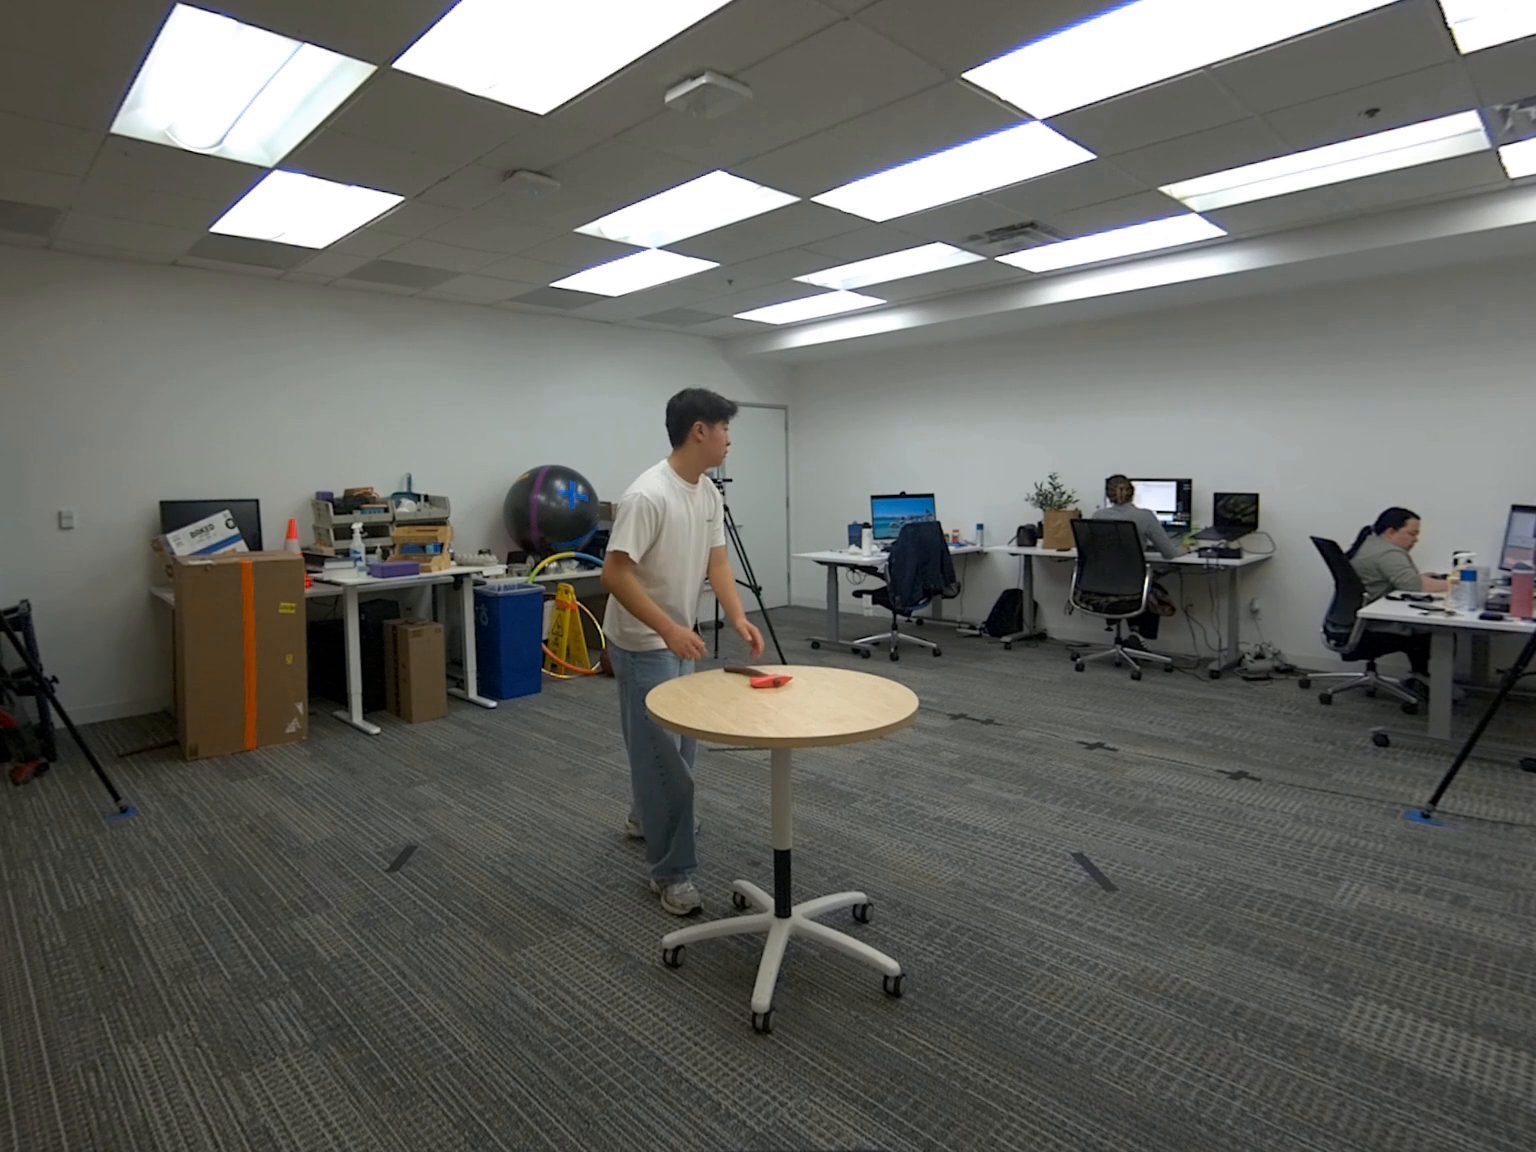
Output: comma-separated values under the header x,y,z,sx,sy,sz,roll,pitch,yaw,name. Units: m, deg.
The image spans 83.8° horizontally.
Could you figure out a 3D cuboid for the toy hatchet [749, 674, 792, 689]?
x,y,z,sx,sy,sz,roll,pitch,yaw,name
-0.056,0.308,2.606,0.128,0.029,0.278,-13,11,-44,toy hatchet
